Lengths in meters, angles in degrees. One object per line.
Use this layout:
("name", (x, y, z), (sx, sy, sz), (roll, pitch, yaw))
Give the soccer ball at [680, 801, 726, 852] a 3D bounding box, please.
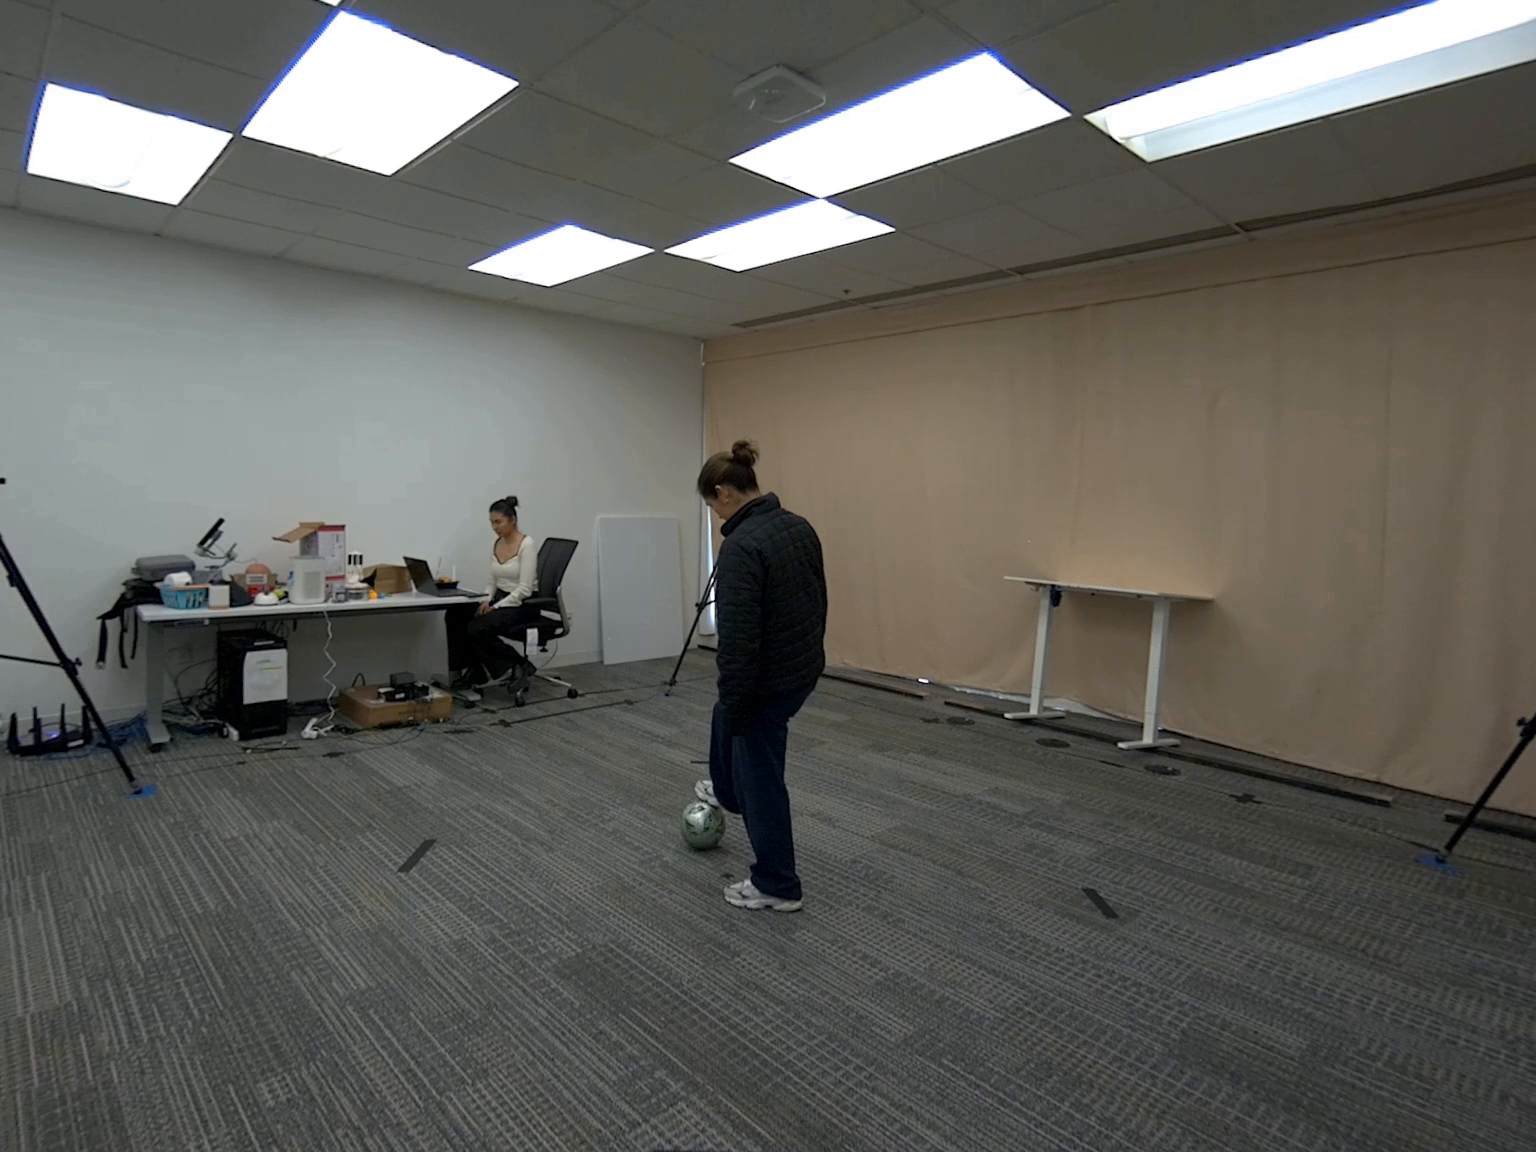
("soccer ball", (-0.259, 0.983, 3.341), (0.187, 0.187, 0.188), (1, 4, -1))
